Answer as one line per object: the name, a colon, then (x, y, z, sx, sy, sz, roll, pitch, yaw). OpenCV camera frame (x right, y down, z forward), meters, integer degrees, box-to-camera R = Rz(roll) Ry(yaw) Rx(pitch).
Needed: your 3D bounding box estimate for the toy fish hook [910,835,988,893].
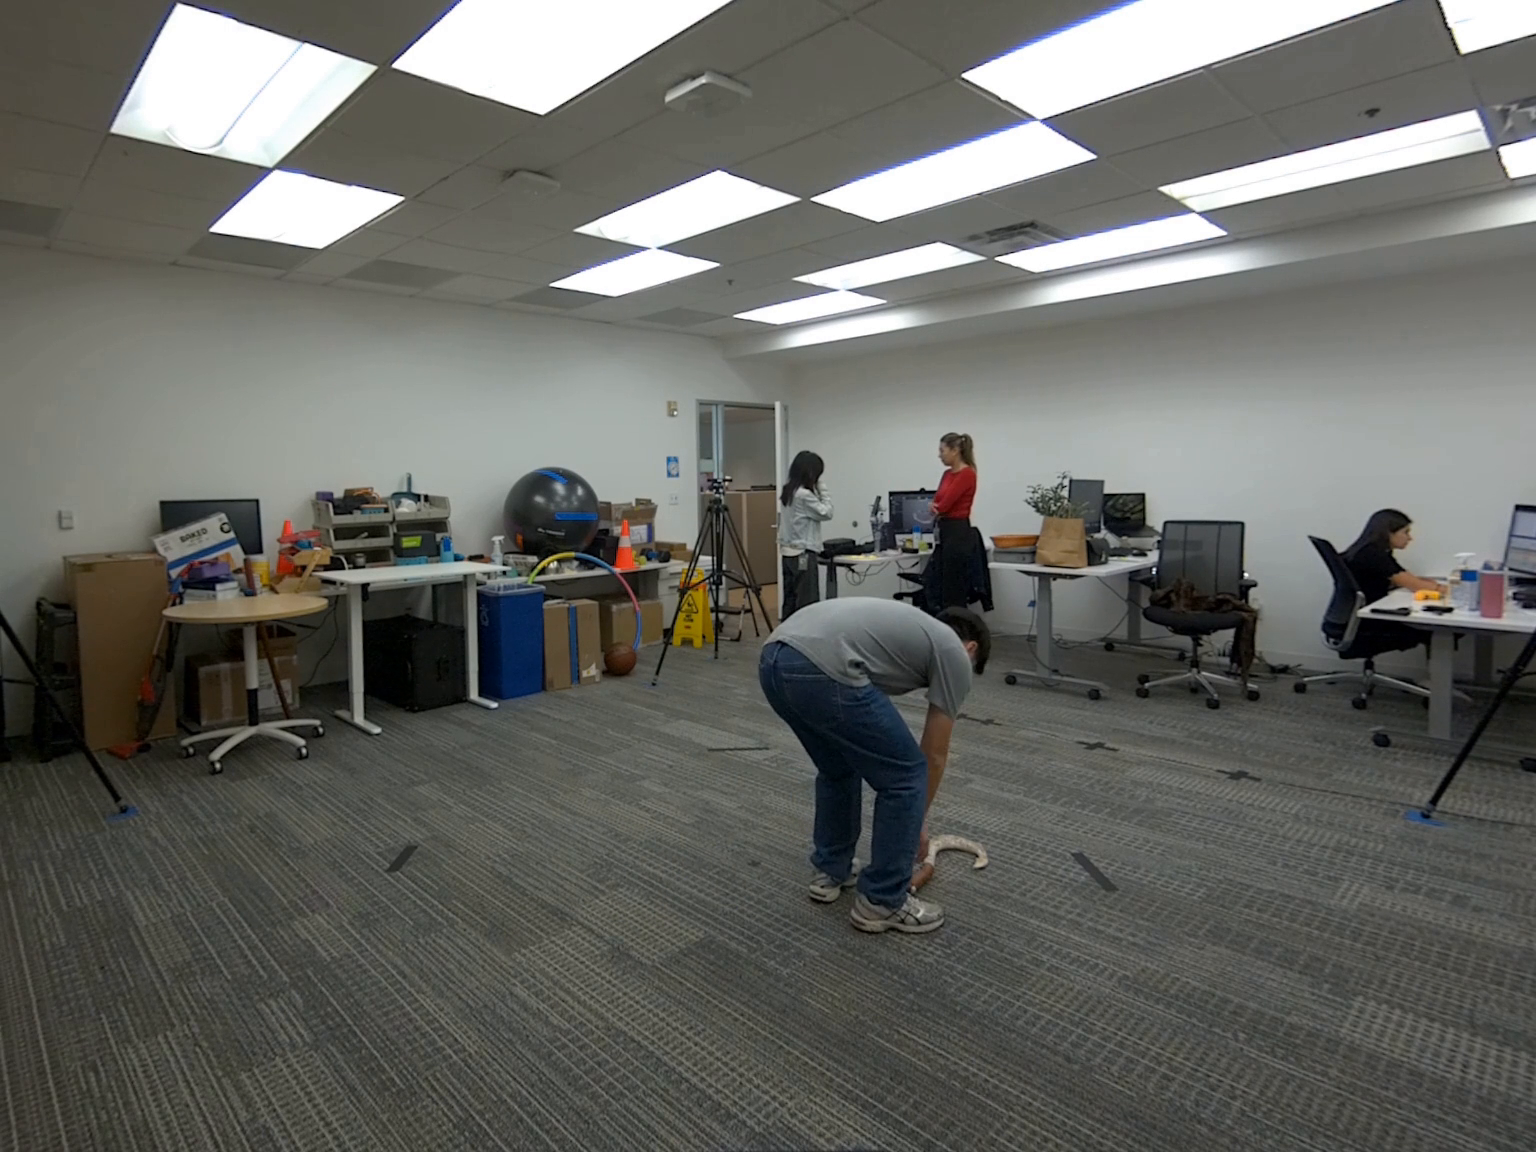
toy fish hook: (0.632, 1.022, 3.008, 0.230, 0.048, 0.496, 1, 7, 30)
